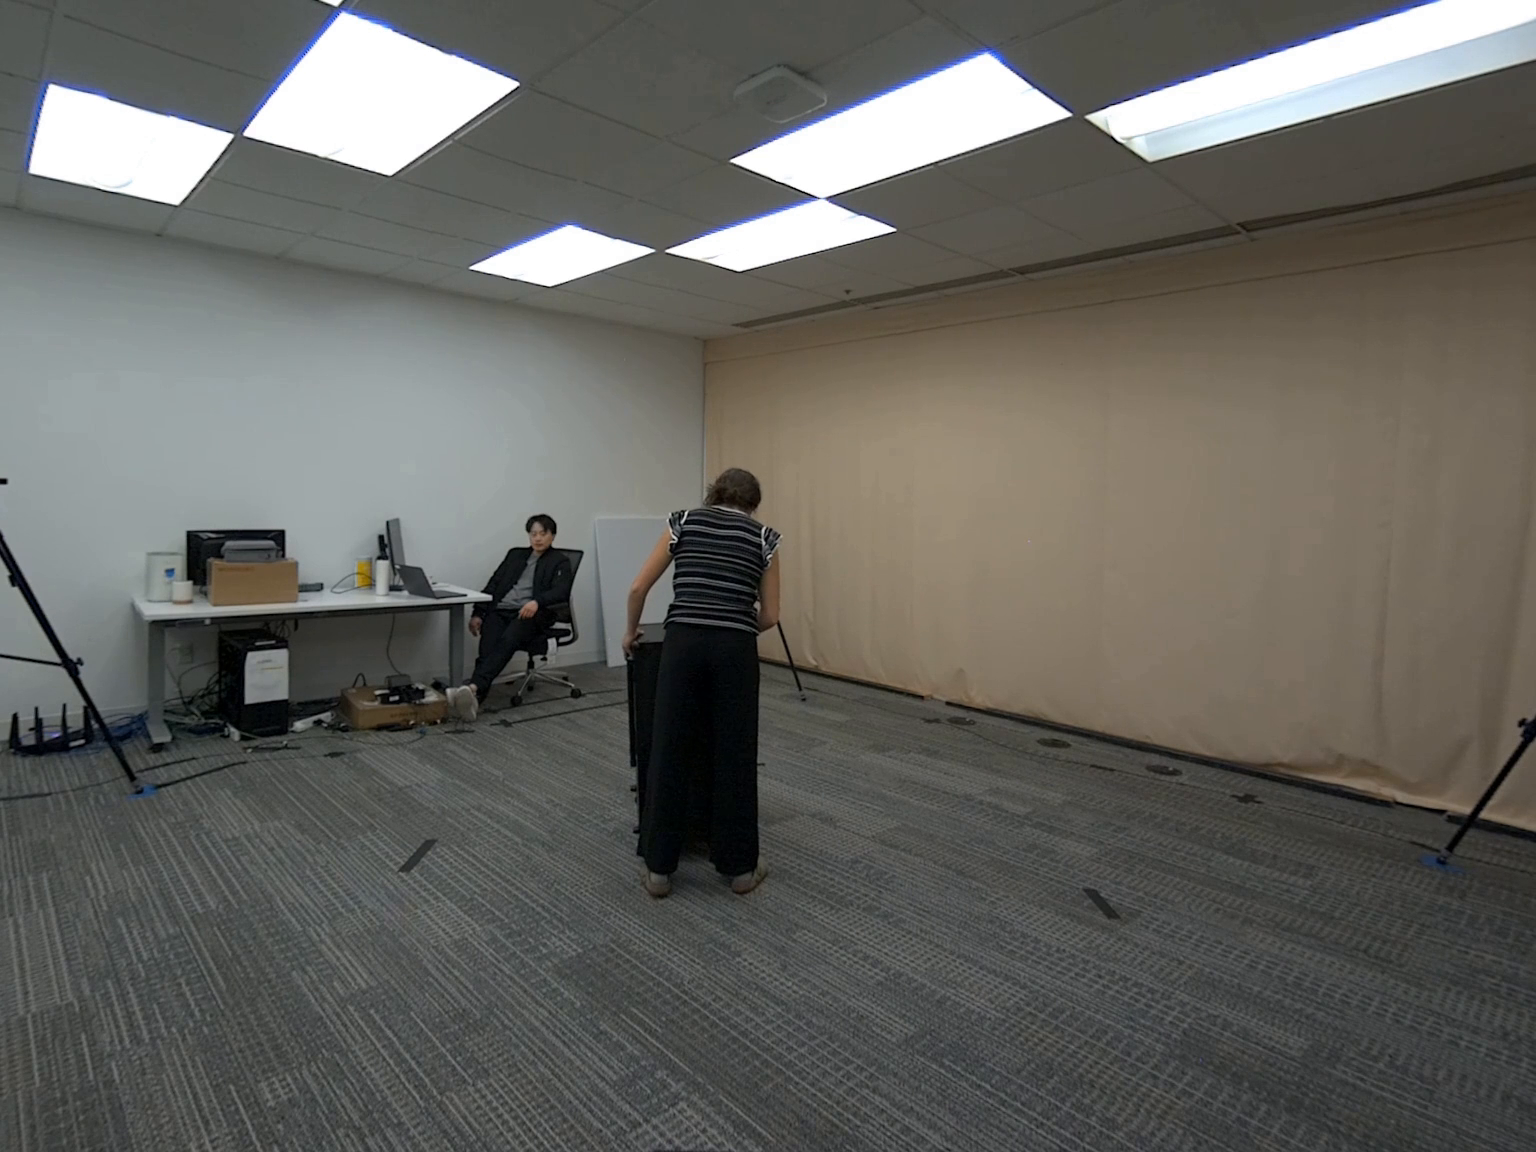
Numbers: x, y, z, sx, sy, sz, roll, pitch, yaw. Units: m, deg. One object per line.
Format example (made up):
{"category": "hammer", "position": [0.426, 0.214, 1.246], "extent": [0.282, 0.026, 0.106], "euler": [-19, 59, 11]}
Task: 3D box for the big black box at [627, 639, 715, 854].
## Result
{"category": "big black box", "position": [-0.382, 0.648, 3.421], "extent": [0.394, 0.859, 0.526], "euler": [-3, 3, -8]}
